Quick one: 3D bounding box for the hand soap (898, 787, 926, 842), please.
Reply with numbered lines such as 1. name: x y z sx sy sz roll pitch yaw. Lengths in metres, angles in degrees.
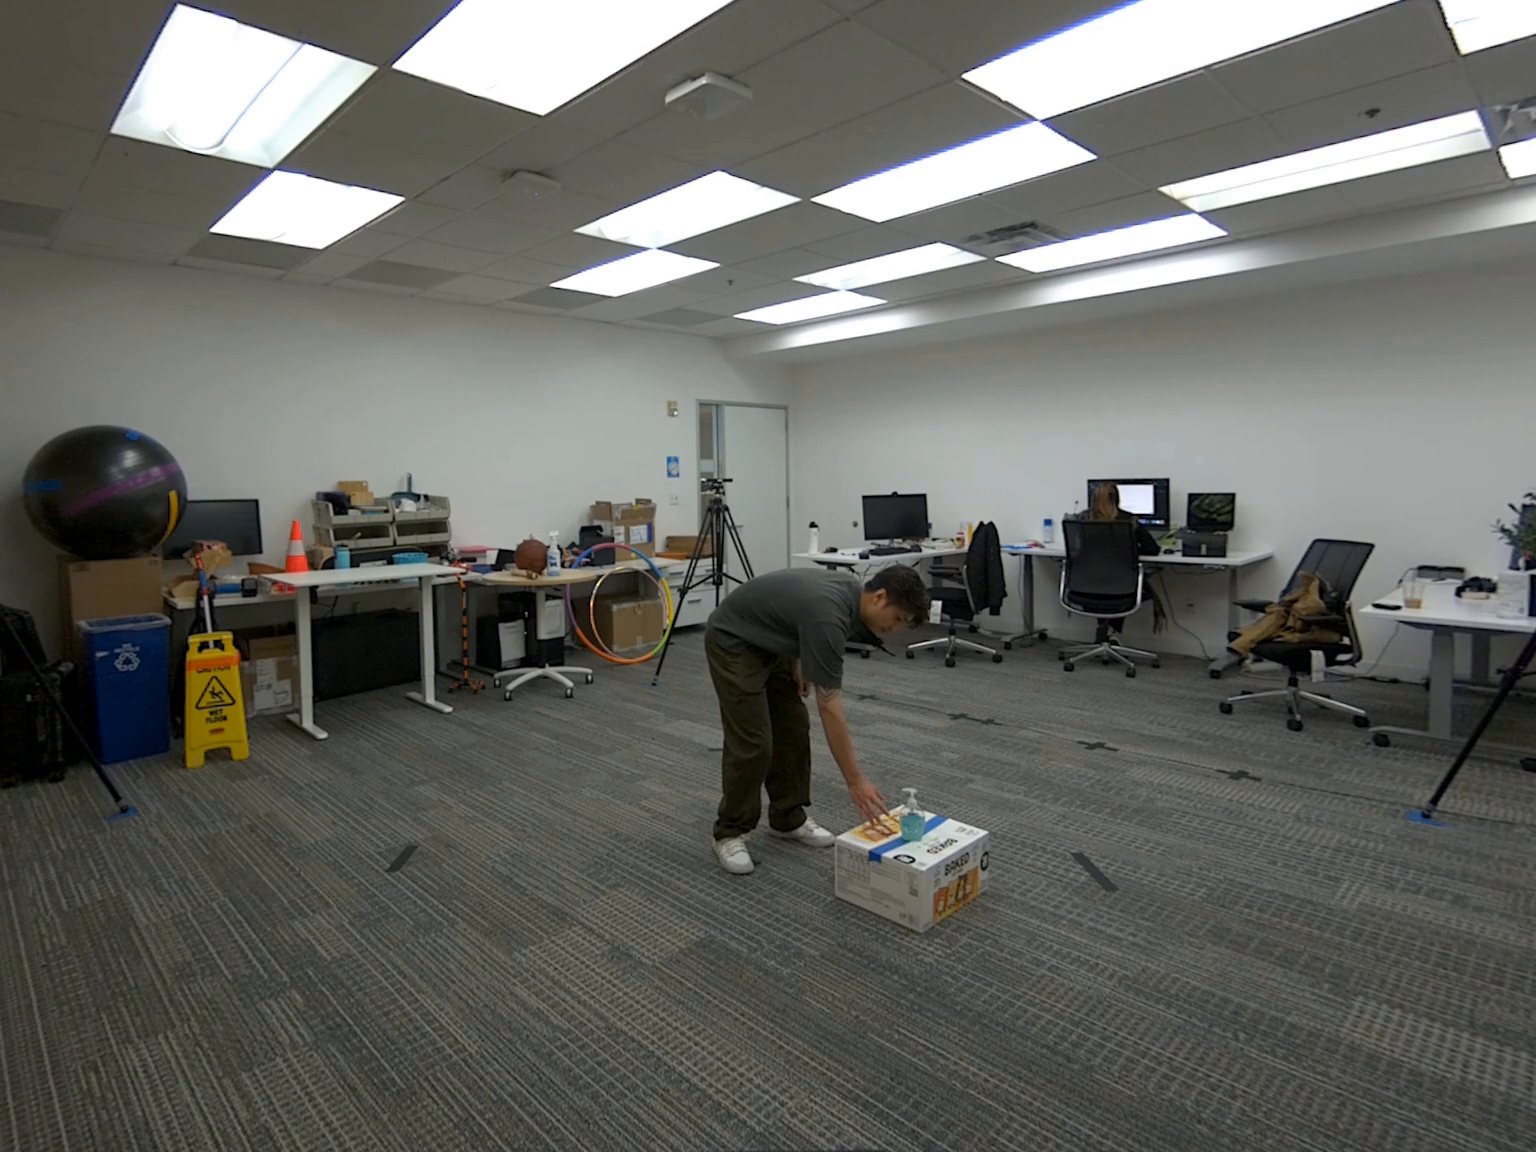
1. hand soap: 0.478 0.789 2.819 0.085 0.168 0.043 -2 2 6
